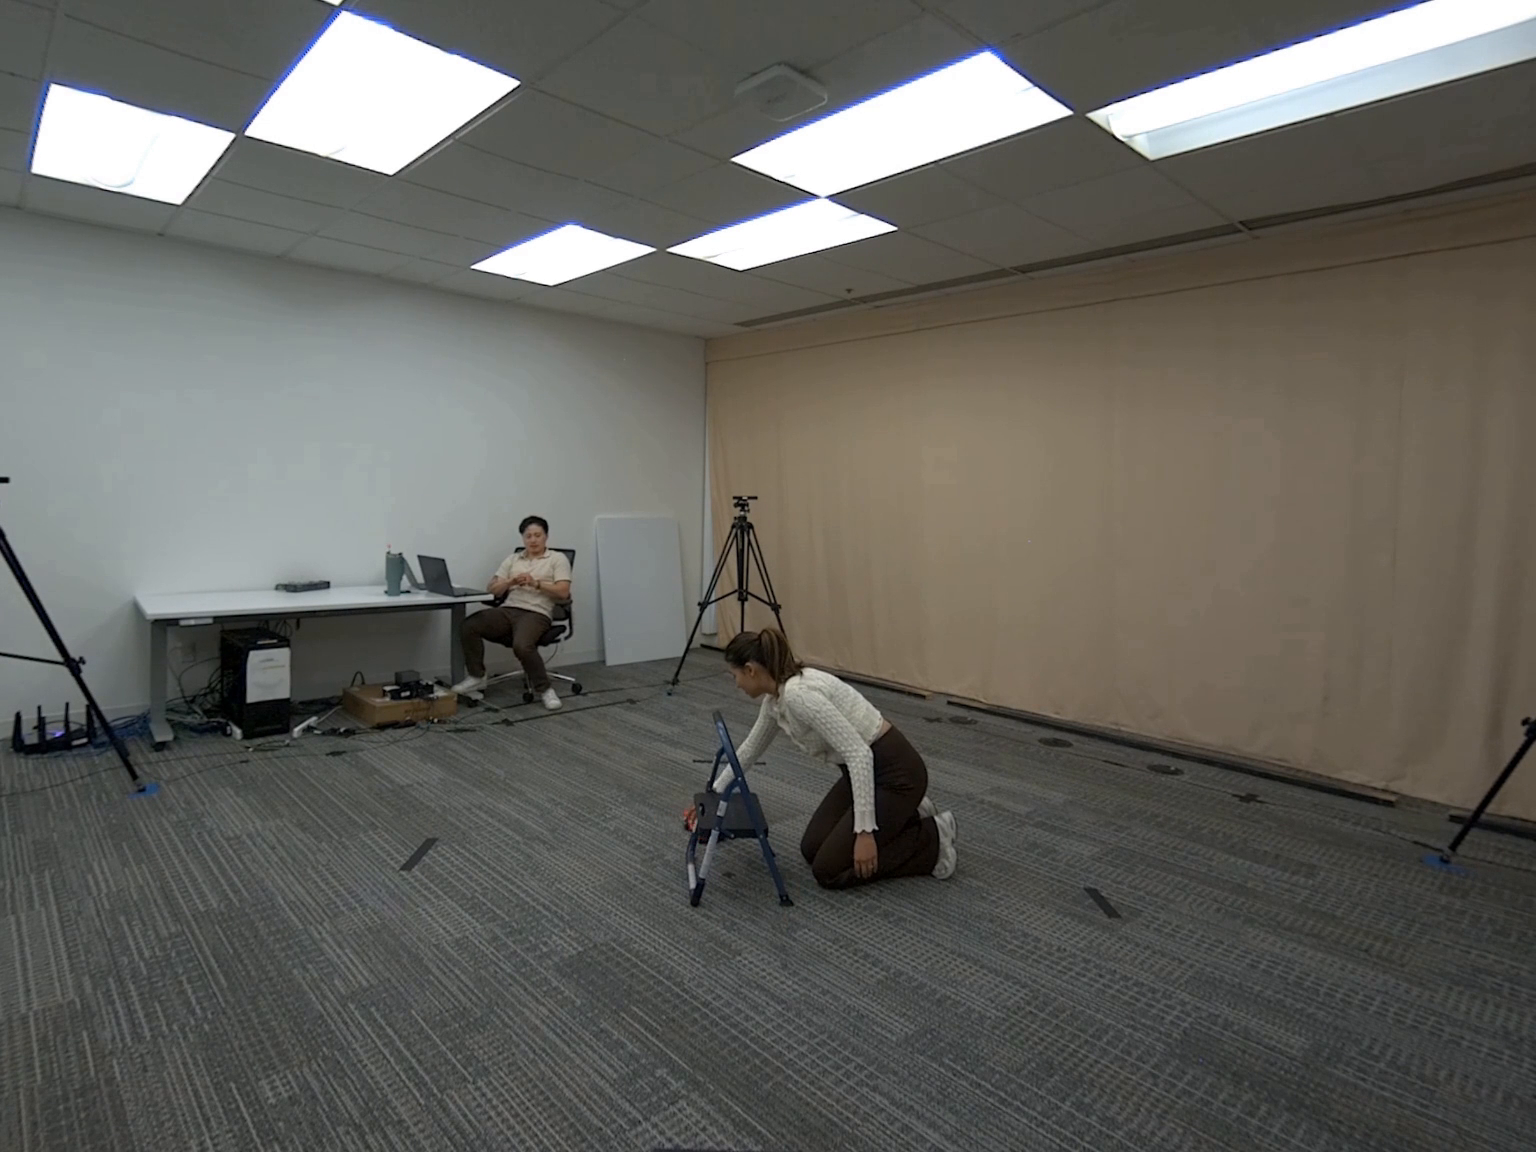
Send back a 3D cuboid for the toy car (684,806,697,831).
[{"bbox_3d":[-0.270,1.029,3.501,0.128,0.082,0.261,0,17,-22],"label":"toy car"}]
